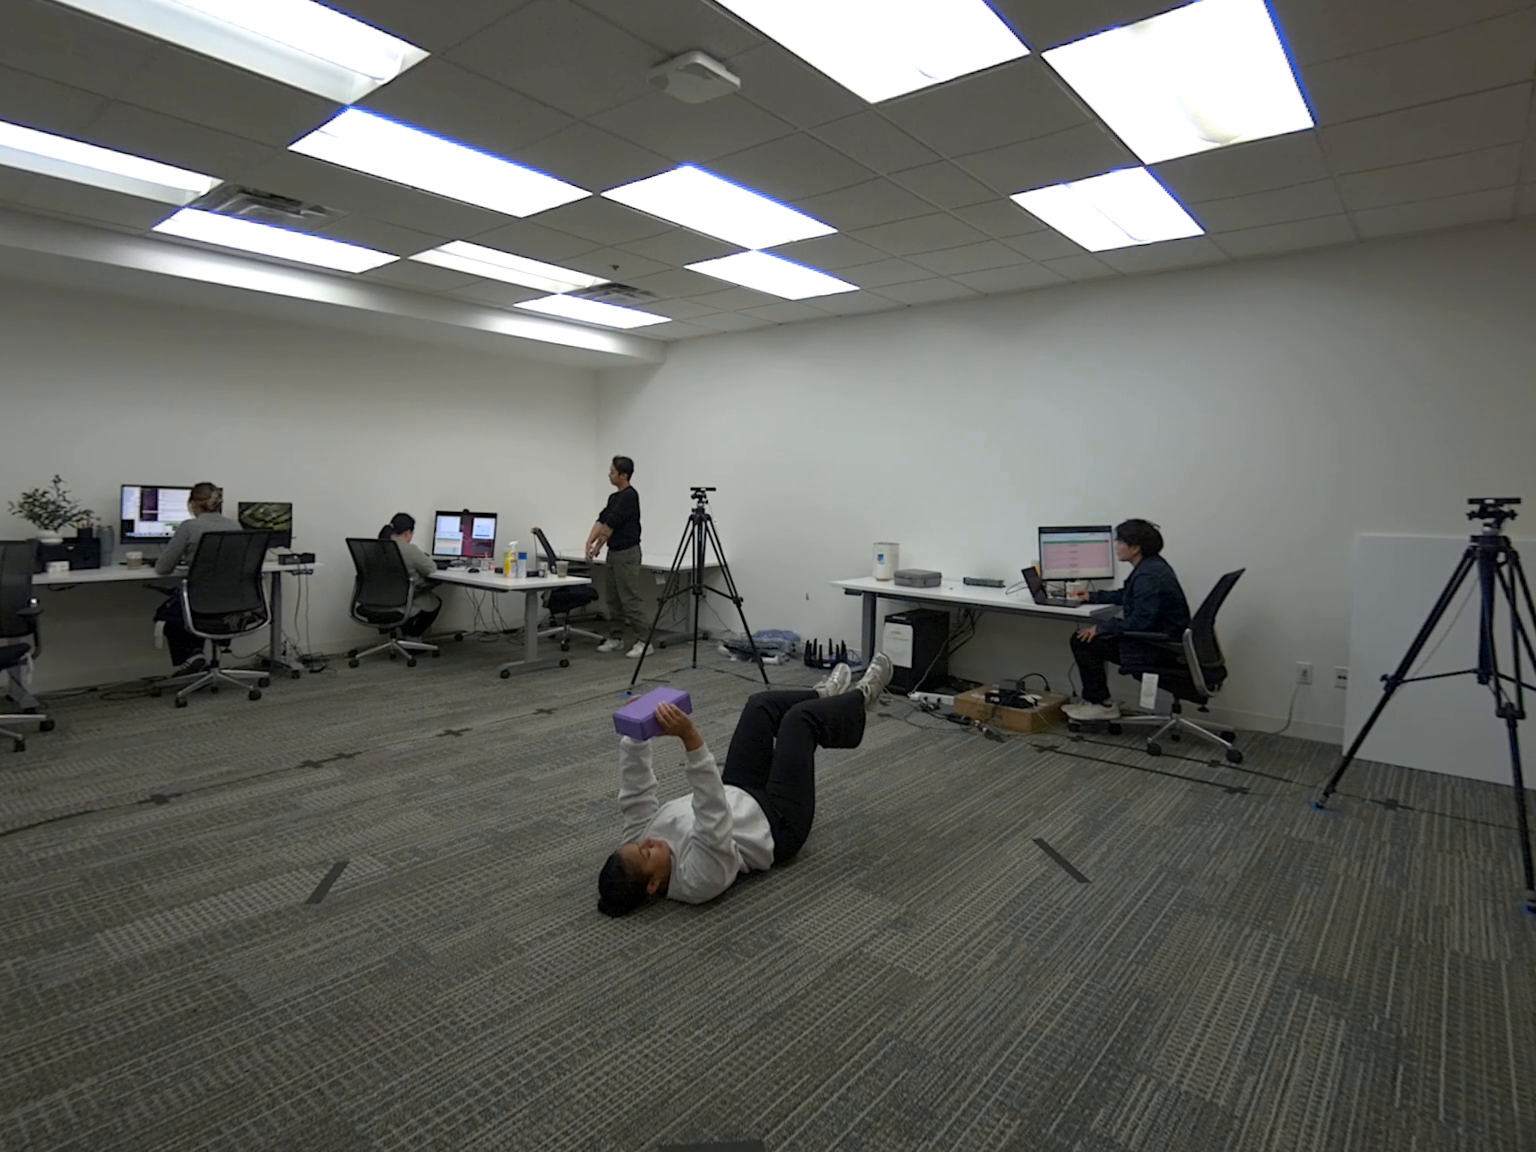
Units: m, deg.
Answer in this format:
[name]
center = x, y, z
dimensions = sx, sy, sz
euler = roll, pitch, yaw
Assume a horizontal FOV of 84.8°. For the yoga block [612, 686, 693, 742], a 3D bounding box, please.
[yoga block]
center = -0.390, 0.450, 2.796
dimensions = 0.154, 0.075, 0.226
euler = 1, 18, 37
